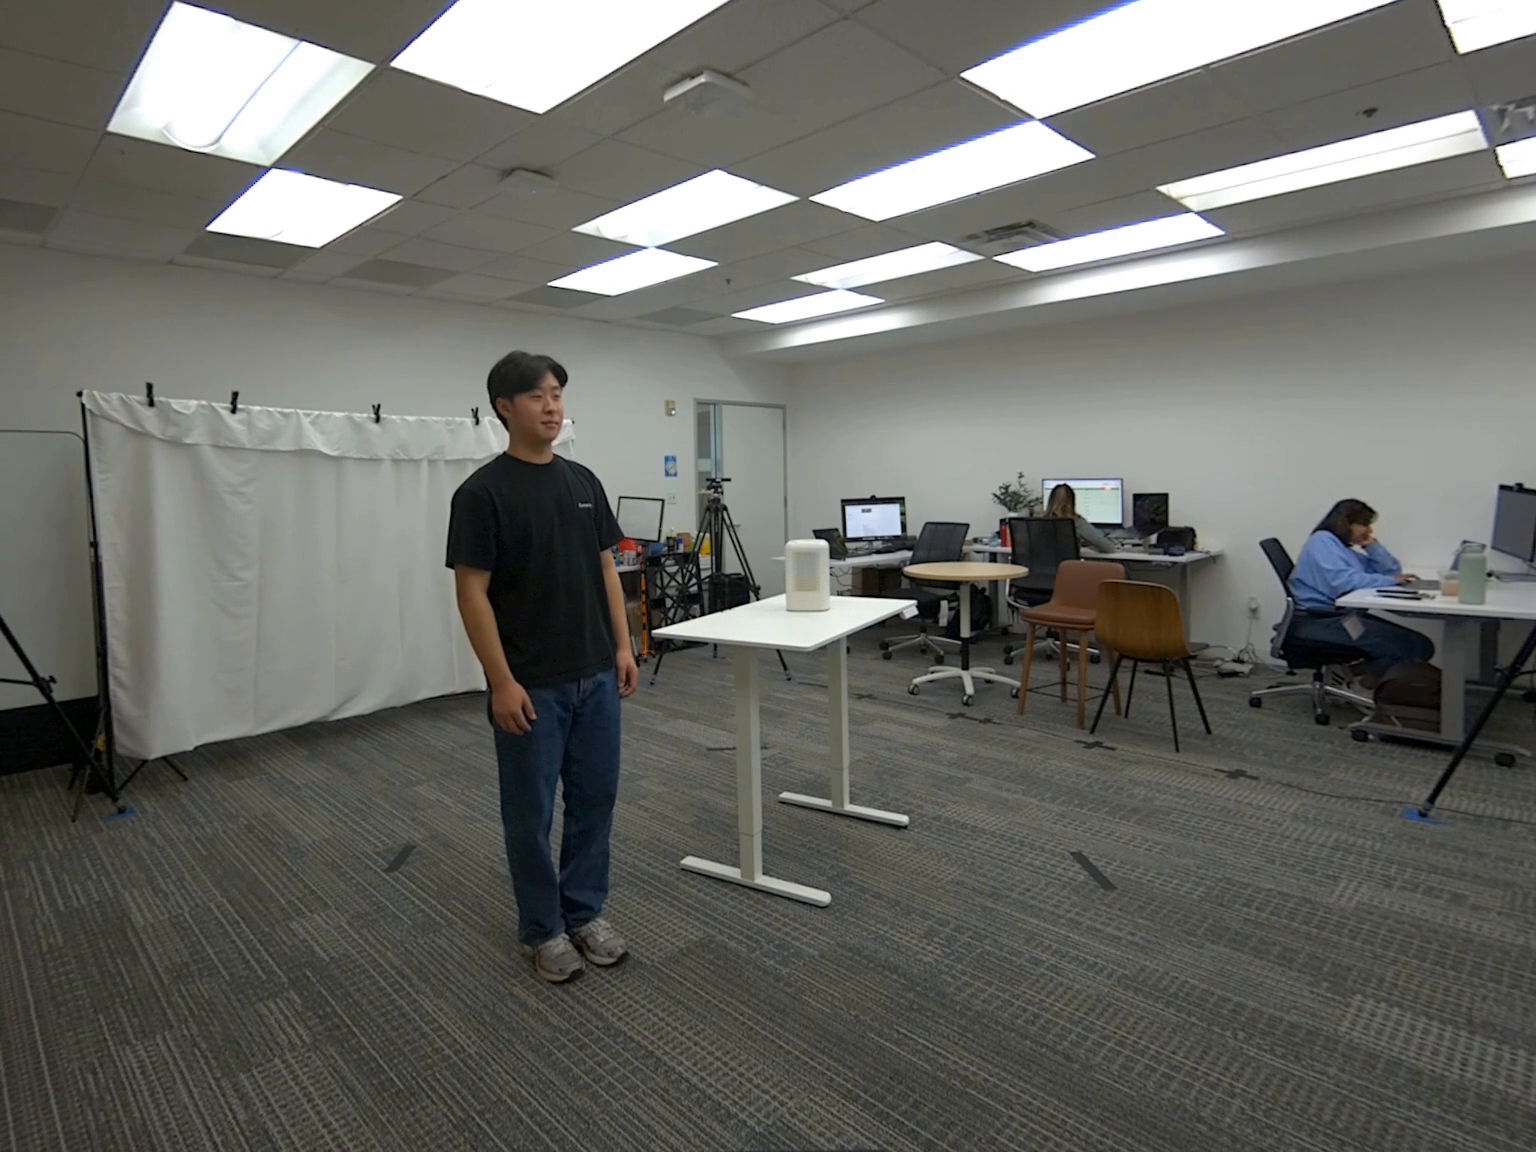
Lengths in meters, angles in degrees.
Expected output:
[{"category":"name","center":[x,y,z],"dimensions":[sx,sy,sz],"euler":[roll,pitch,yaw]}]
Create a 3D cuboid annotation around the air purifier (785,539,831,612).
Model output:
[{"category":"air purifier","center":[0.157,-0.006,3.334],"dimensions":[0.173,0.264,0.170],"euler":[-1,5,9]}]
